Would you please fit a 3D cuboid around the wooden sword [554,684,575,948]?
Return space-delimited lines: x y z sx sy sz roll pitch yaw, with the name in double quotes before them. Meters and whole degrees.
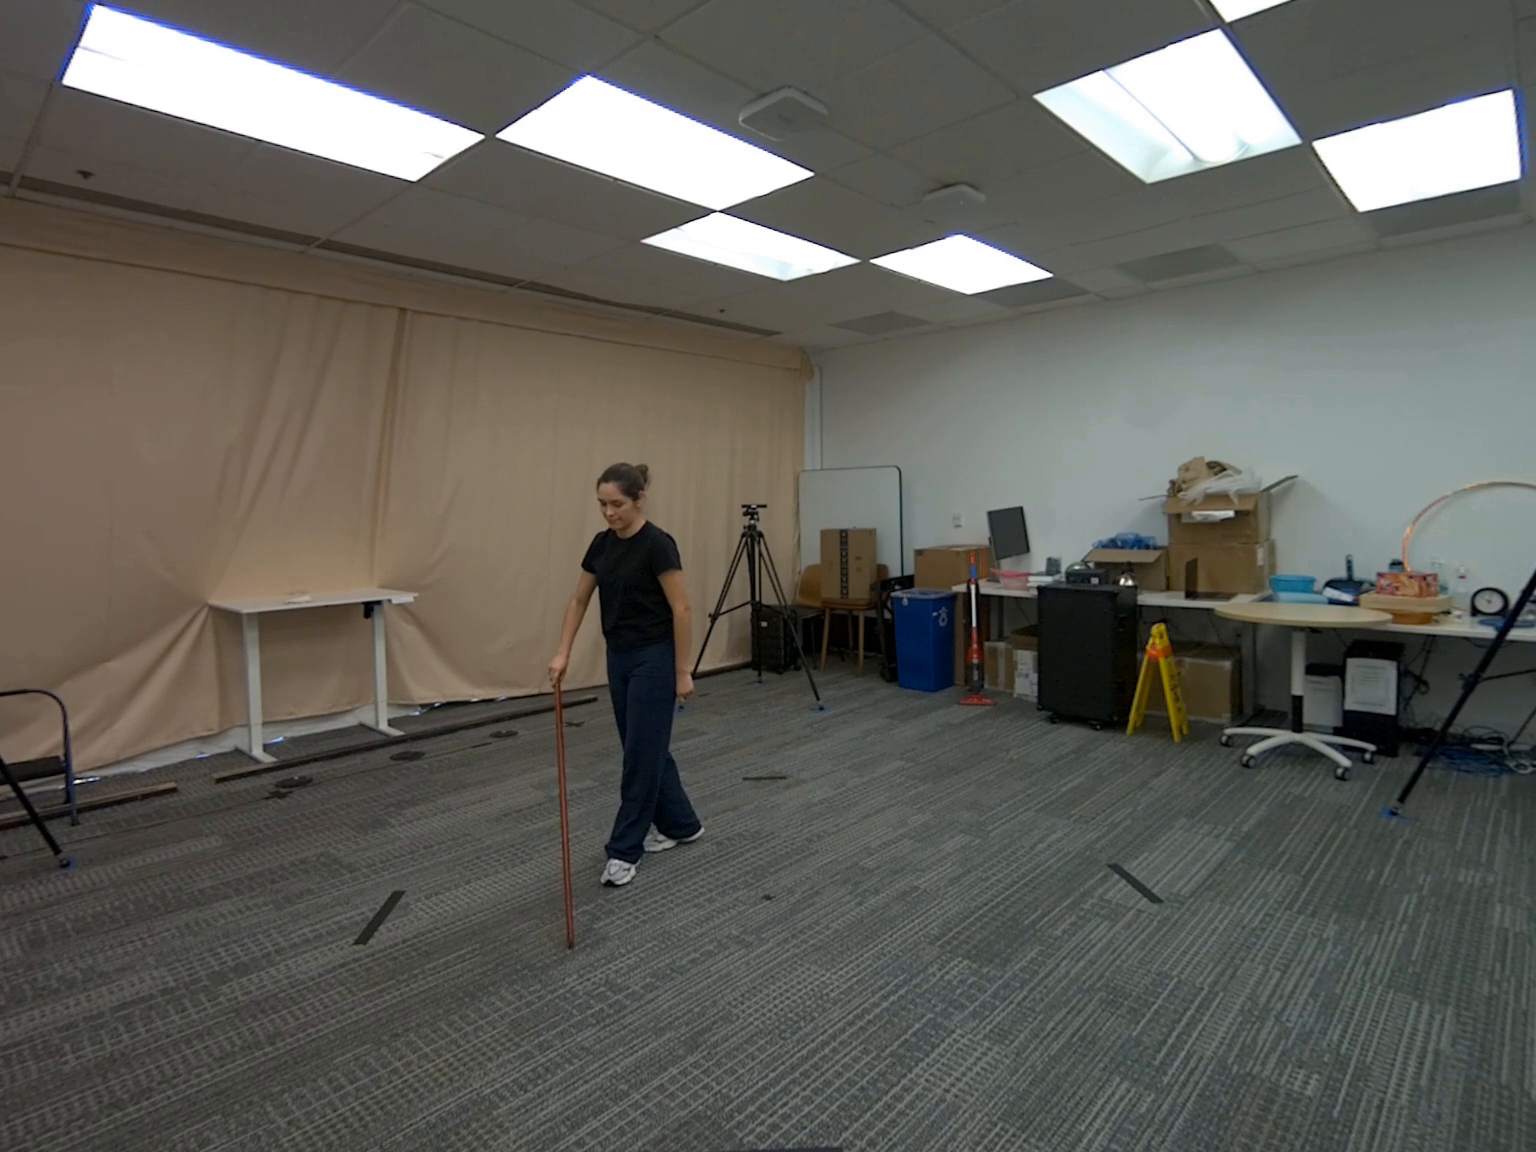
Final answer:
"wooden sword" -0.708 0.746 2.980 0.023 1.050 0.052 15 -46 -35
